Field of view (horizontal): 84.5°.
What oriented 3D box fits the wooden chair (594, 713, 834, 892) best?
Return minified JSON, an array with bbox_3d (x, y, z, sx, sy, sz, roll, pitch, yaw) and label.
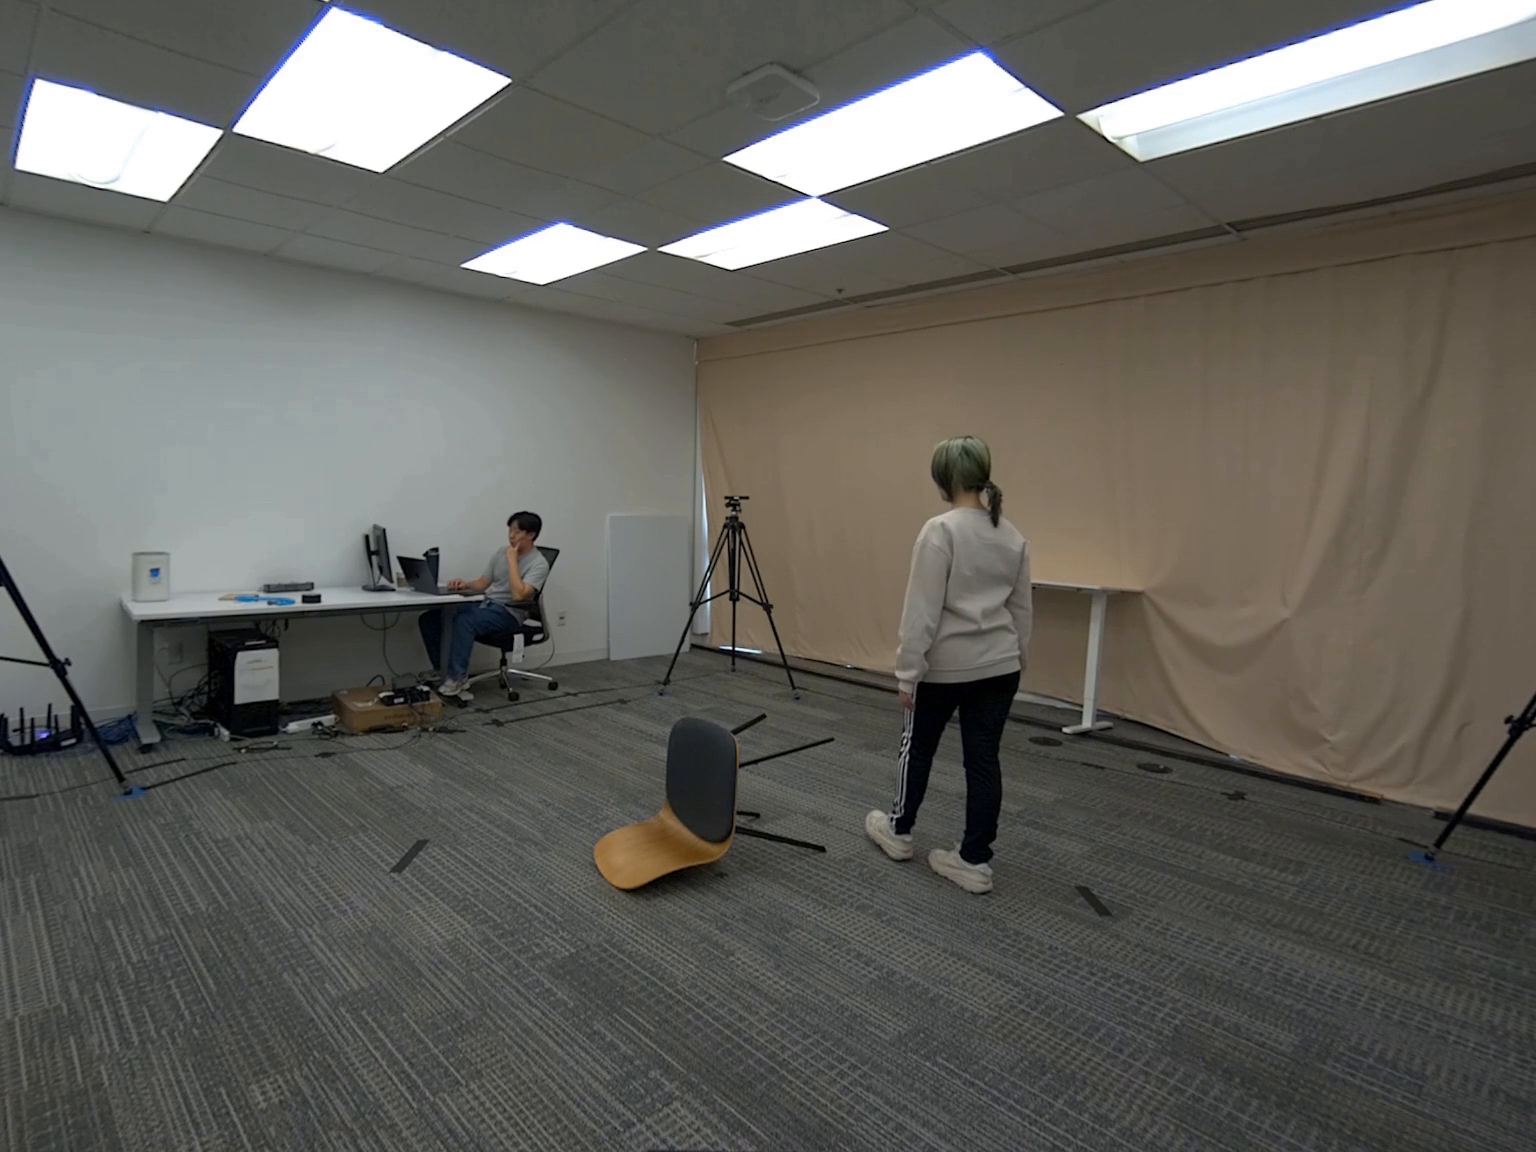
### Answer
[{"bbox_3d":[-0.229,0.826,3.264,0.858,0.521,0.490,-3,6,-36],"label":"wooden chair"}]
